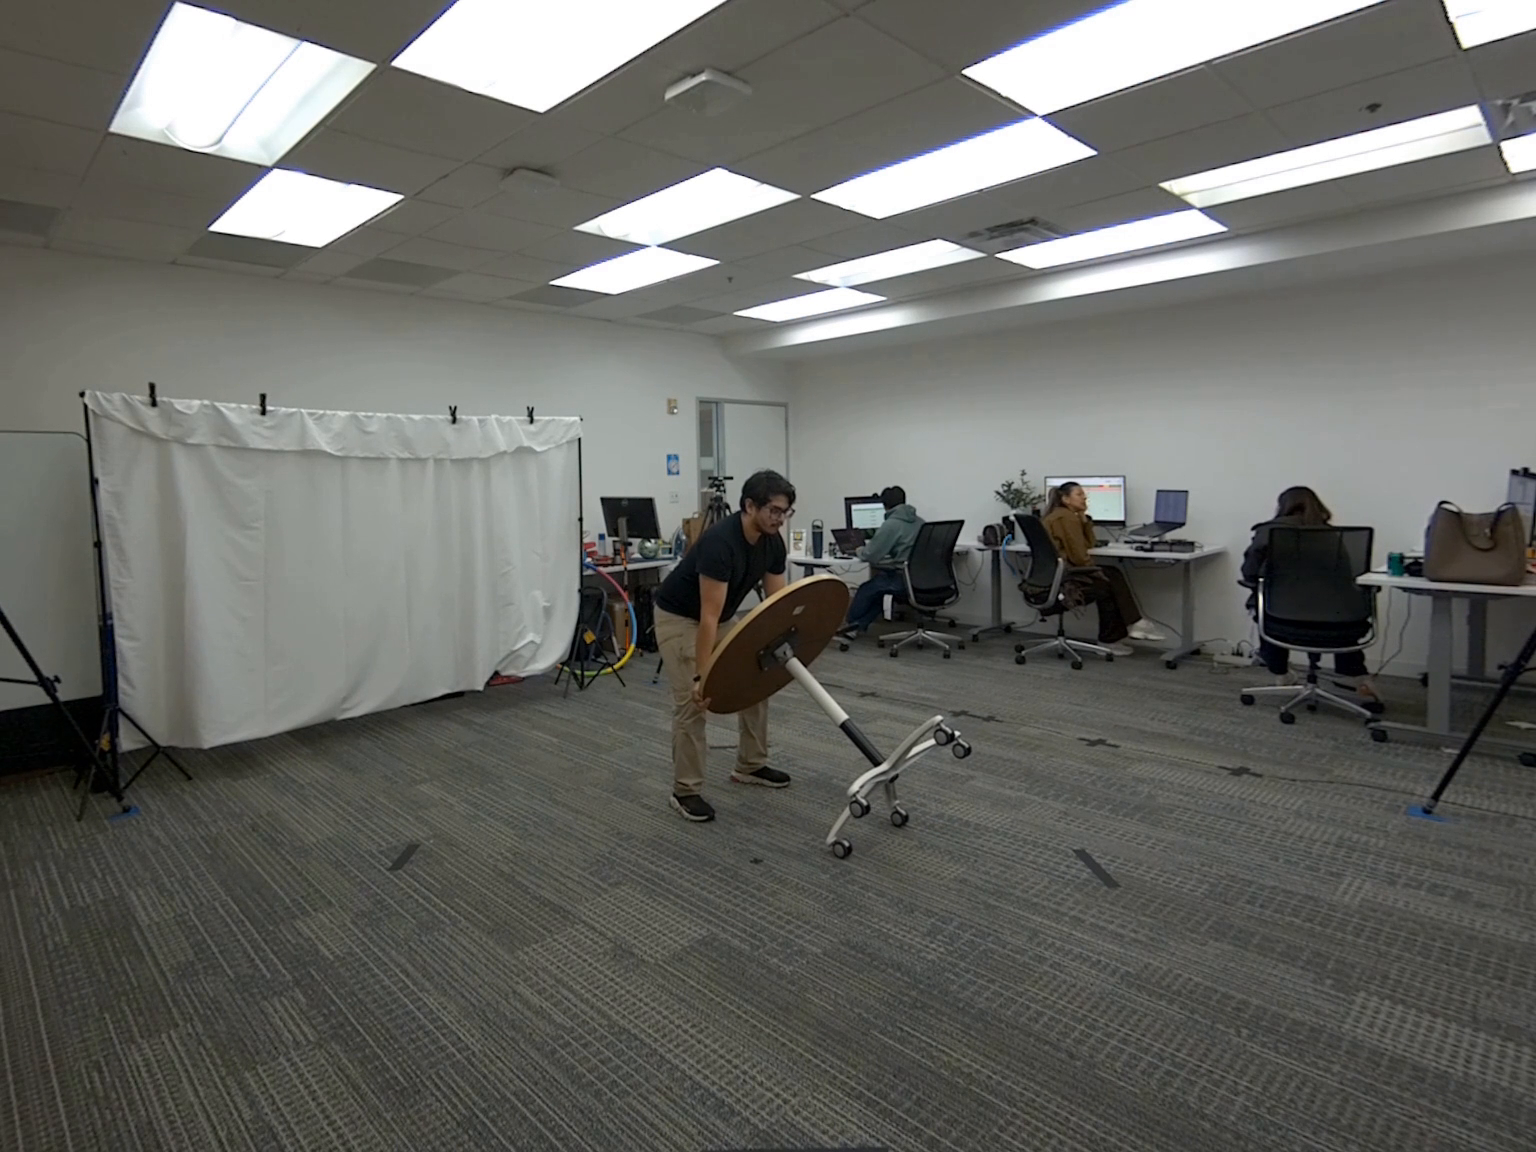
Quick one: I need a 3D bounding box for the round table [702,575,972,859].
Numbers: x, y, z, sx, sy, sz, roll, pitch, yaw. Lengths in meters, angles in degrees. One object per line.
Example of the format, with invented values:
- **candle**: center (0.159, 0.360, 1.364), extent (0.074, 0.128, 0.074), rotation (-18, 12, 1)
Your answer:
- **round table**: center (0.268, 0.548, 3.315), extent (0.765, 0.779, 0.814), rotation (-6, 45, -47)
